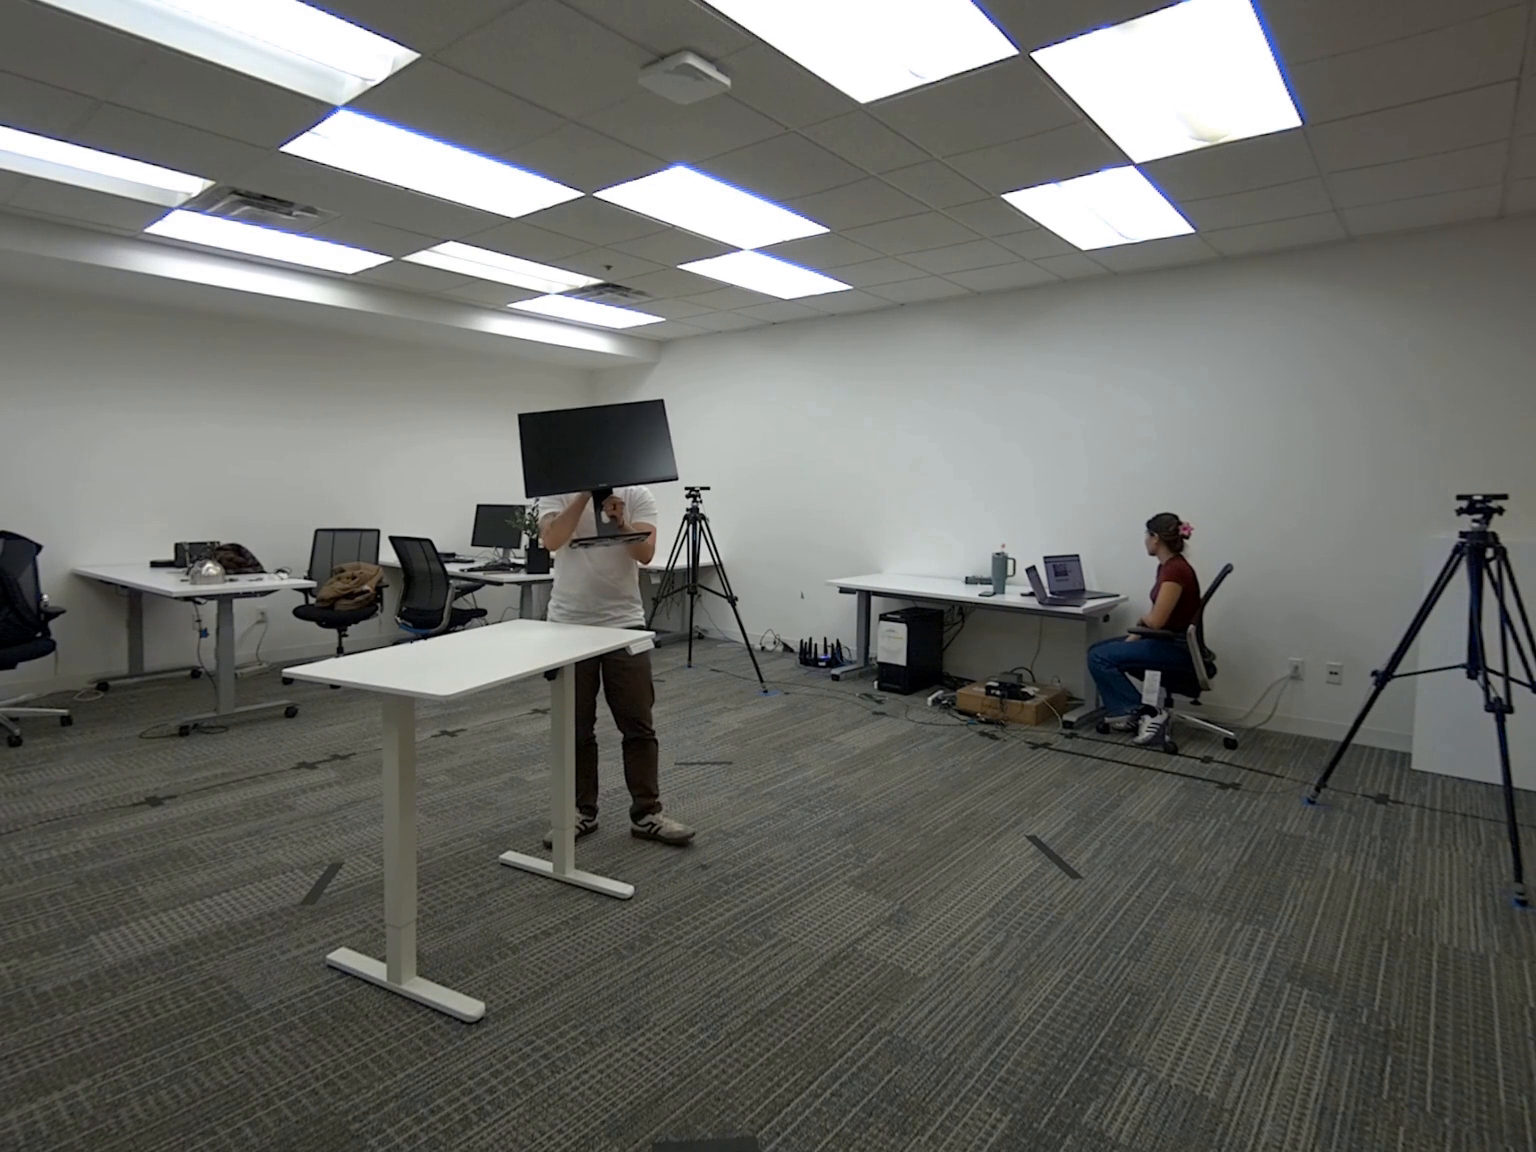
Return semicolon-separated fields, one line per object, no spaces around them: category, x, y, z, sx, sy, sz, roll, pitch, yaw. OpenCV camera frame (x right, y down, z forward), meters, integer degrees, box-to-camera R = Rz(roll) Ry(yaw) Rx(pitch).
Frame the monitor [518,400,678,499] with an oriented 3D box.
monitor;-0.617;-0.371;3.053;0.533;0.529;0.187;-7;-12;-11
